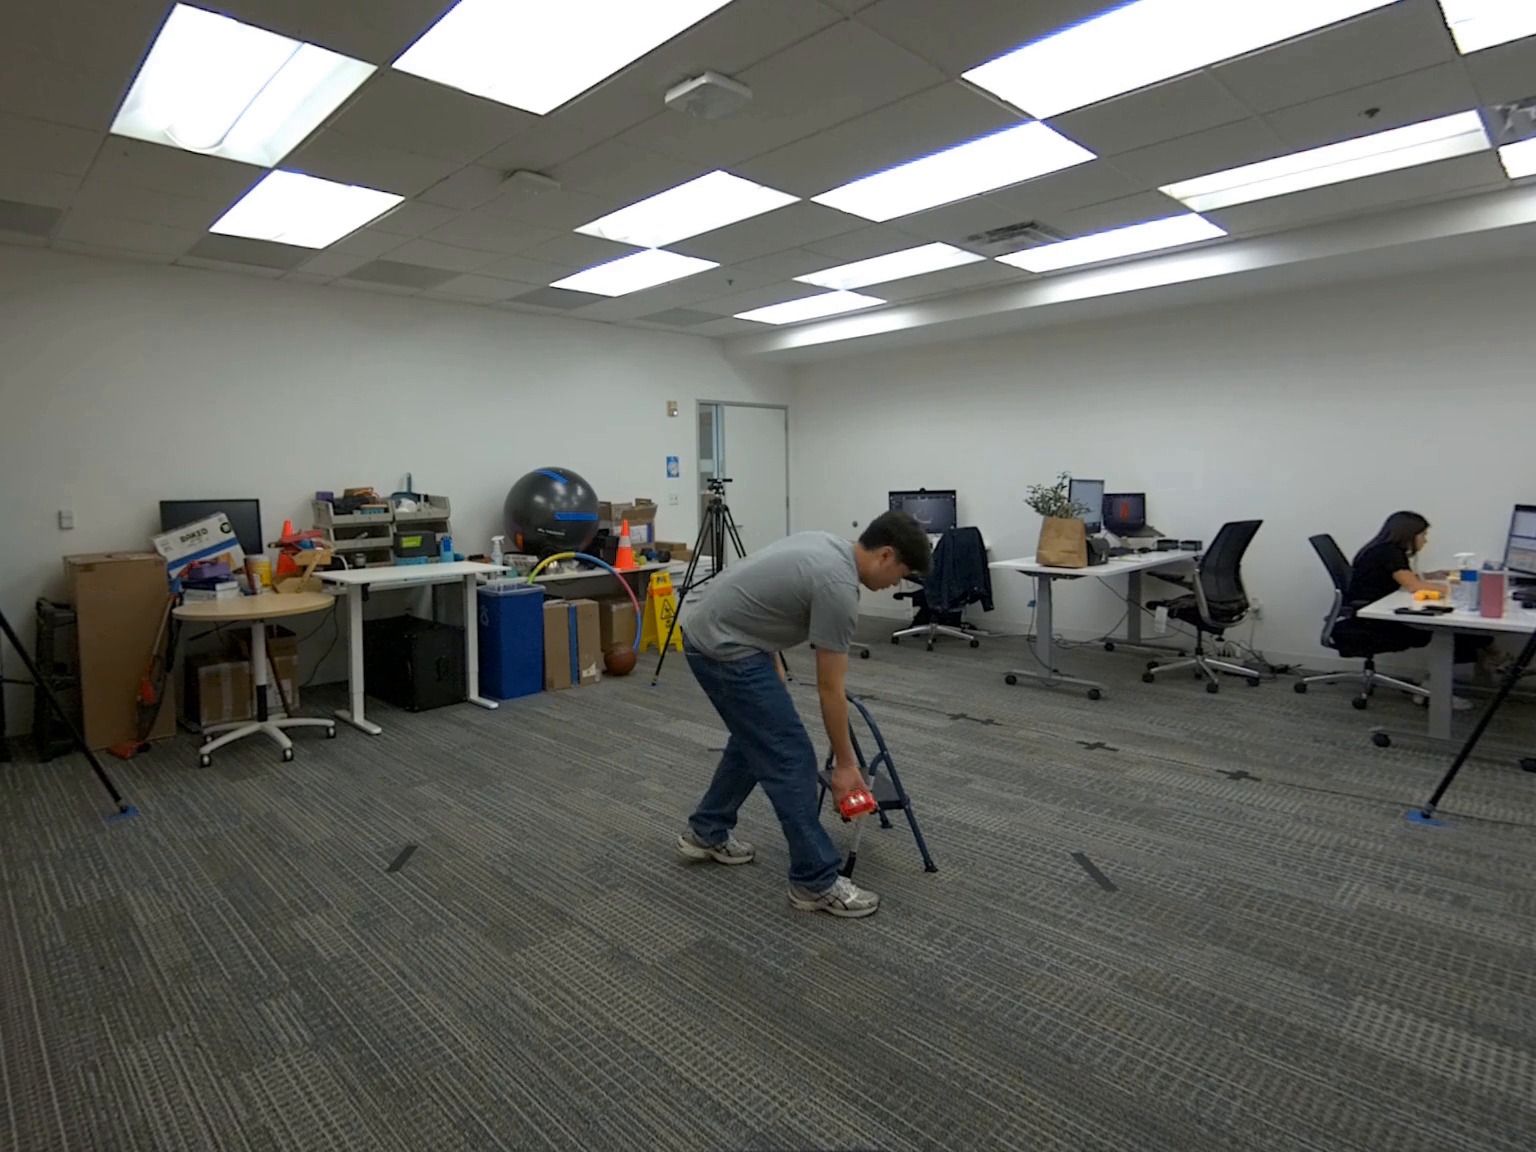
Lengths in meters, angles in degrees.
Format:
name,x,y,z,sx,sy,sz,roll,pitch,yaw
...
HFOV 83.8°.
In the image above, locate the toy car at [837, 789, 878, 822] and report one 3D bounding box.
name,x,y,z,sx,sy,sz,roll,pitch,yaw
toy car,0.280,0.743,2.759,0.130,0.085,0.250,-16,-14,-4
